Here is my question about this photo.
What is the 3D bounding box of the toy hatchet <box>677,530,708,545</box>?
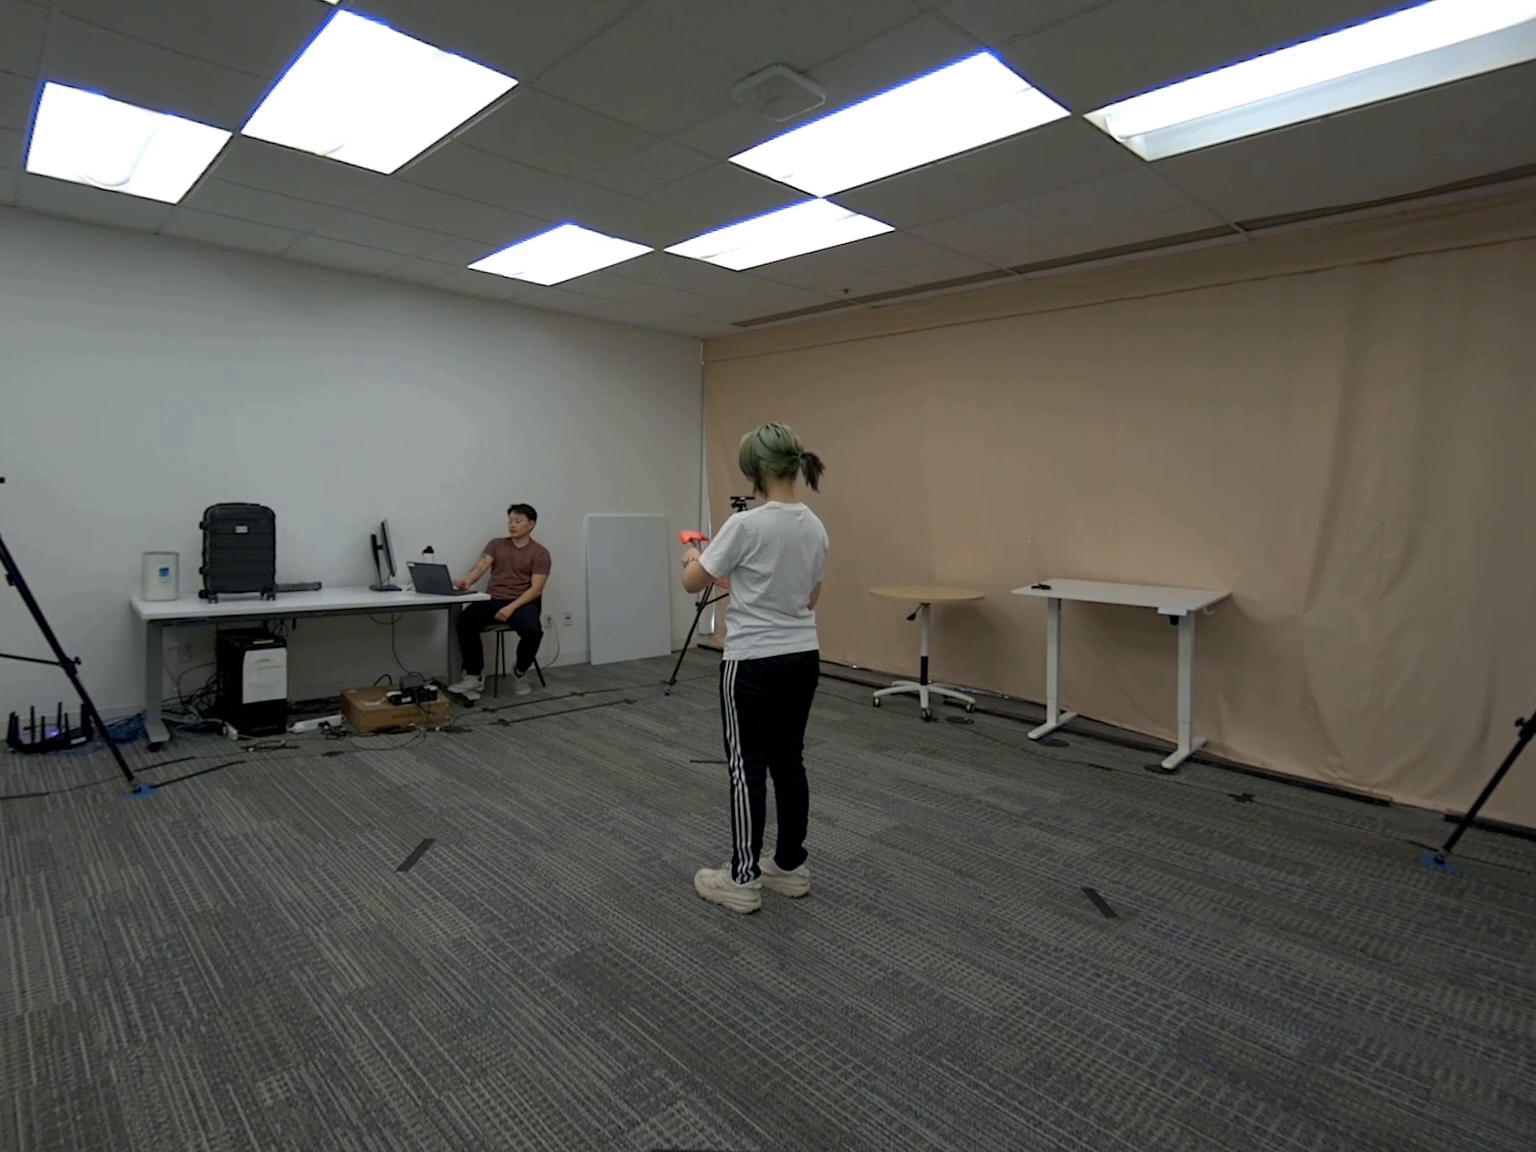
[{"bbox_3d":[-0.285,-0.086,3.166,0.129,0.029,0.275,22,32,-12],"label":"toy hatchet"}]
